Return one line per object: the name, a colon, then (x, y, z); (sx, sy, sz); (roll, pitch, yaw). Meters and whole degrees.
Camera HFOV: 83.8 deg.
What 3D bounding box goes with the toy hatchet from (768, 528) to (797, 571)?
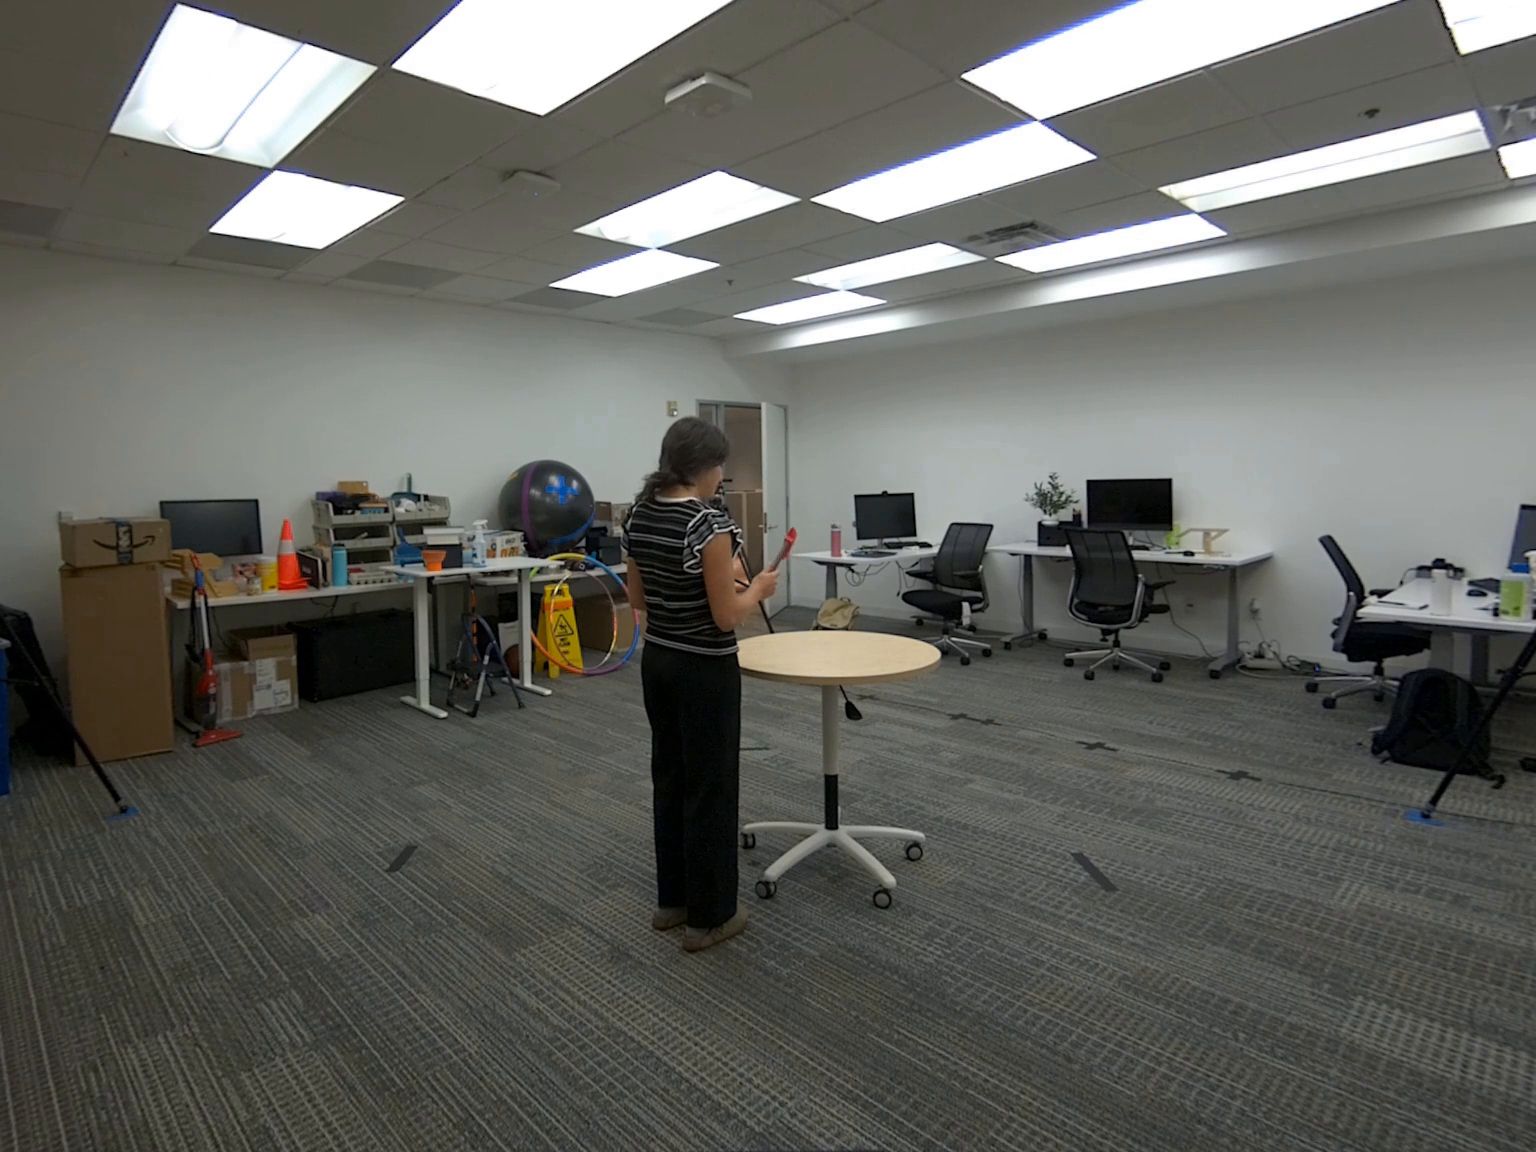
toy hatchet: (0.029, -0.031, 2.771); (0.030, 0.271, 0.128); (26, -15, 12)
